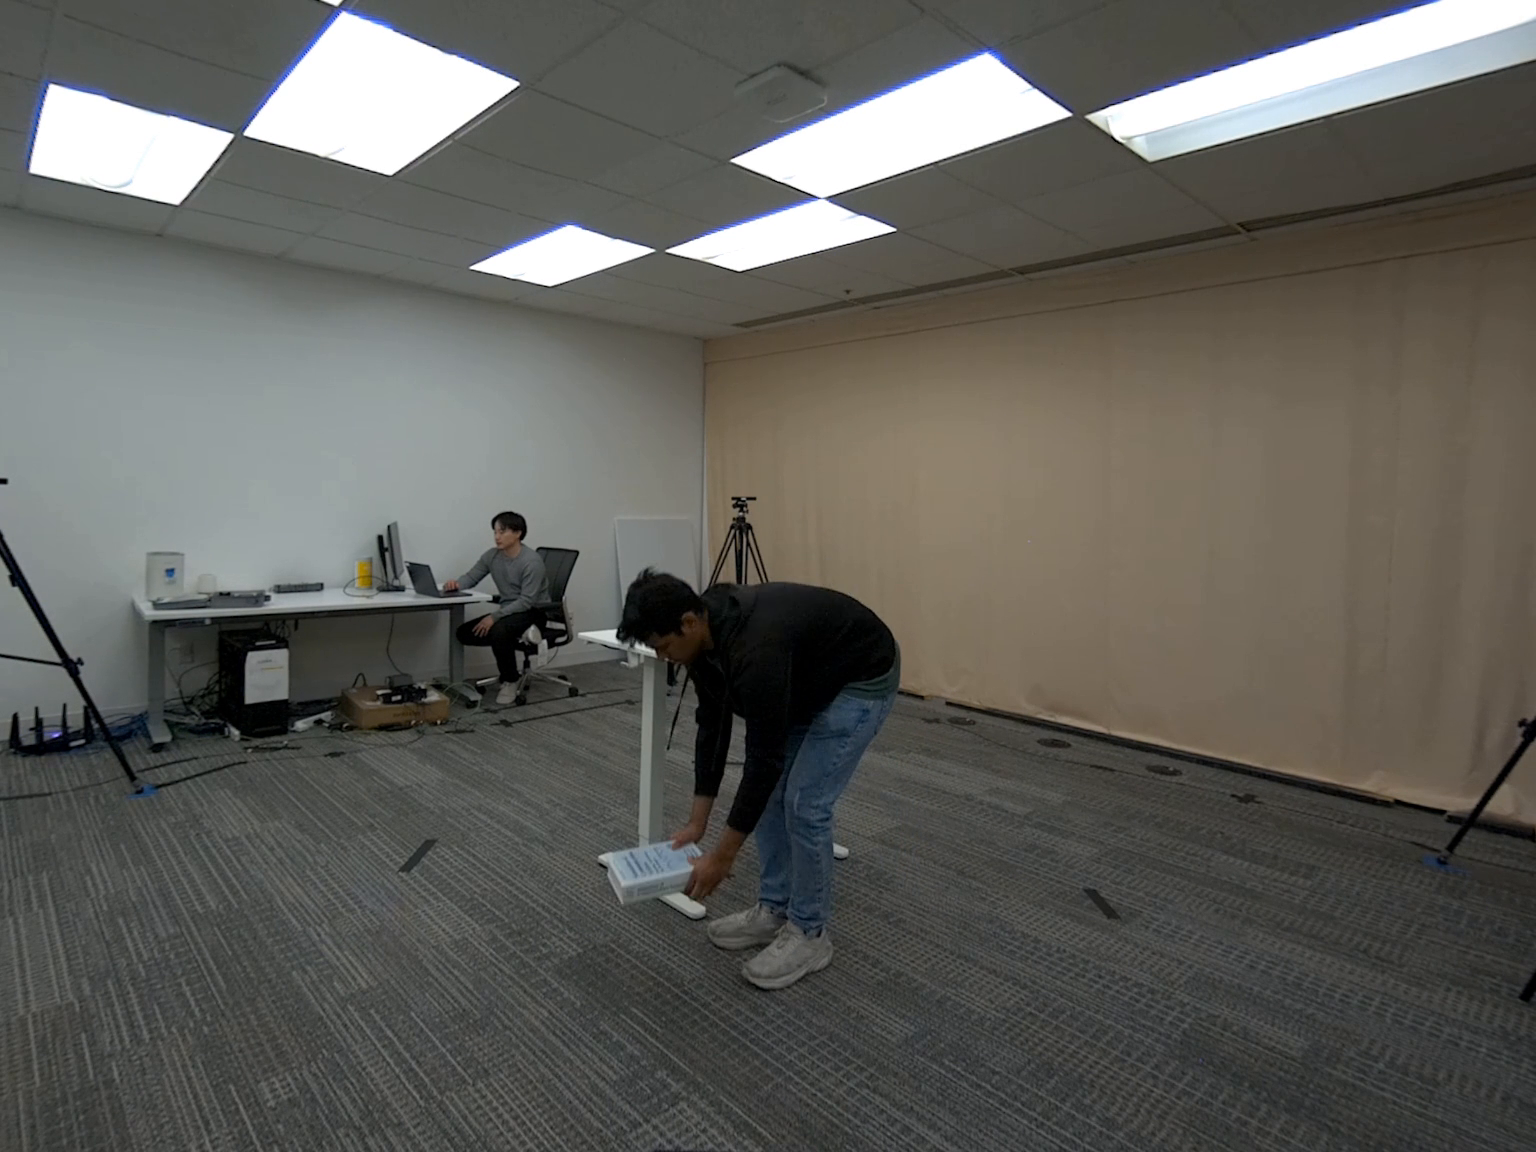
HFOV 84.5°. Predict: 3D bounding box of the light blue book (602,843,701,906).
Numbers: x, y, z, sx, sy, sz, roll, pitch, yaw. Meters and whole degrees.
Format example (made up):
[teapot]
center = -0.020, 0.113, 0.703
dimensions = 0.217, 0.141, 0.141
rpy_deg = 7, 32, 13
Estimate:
[light blue book]
center = -0.316, 0.819, 2.387
dimensions = 0.257, 0.059, 0.195
rpy_deg = -4, 8, -23
